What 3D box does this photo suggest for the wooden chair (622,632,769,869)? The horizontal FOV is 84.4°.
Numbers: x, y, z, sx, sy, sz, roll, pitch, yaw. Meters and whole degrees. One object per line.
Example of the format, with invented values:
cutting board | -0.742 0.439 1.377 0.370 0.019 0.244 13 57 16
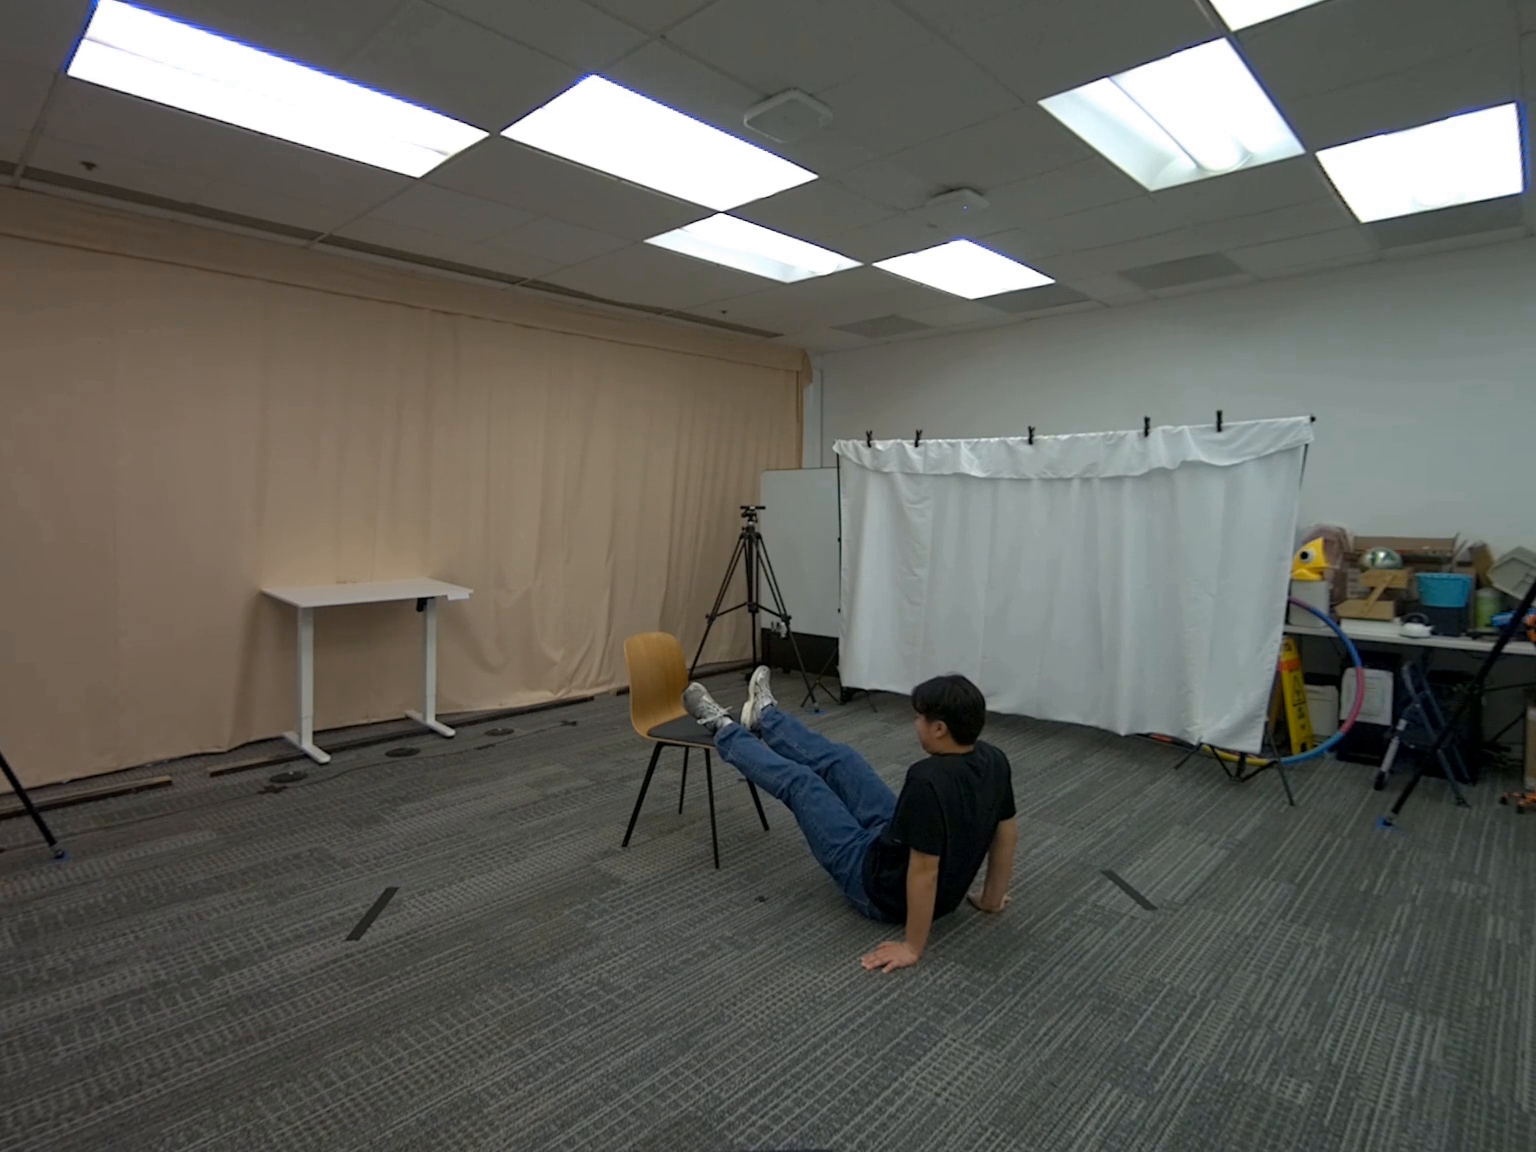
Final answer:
wooden chair | -0.293 0.675 3.498 0.537 0.877 0.466 -3 1 28
